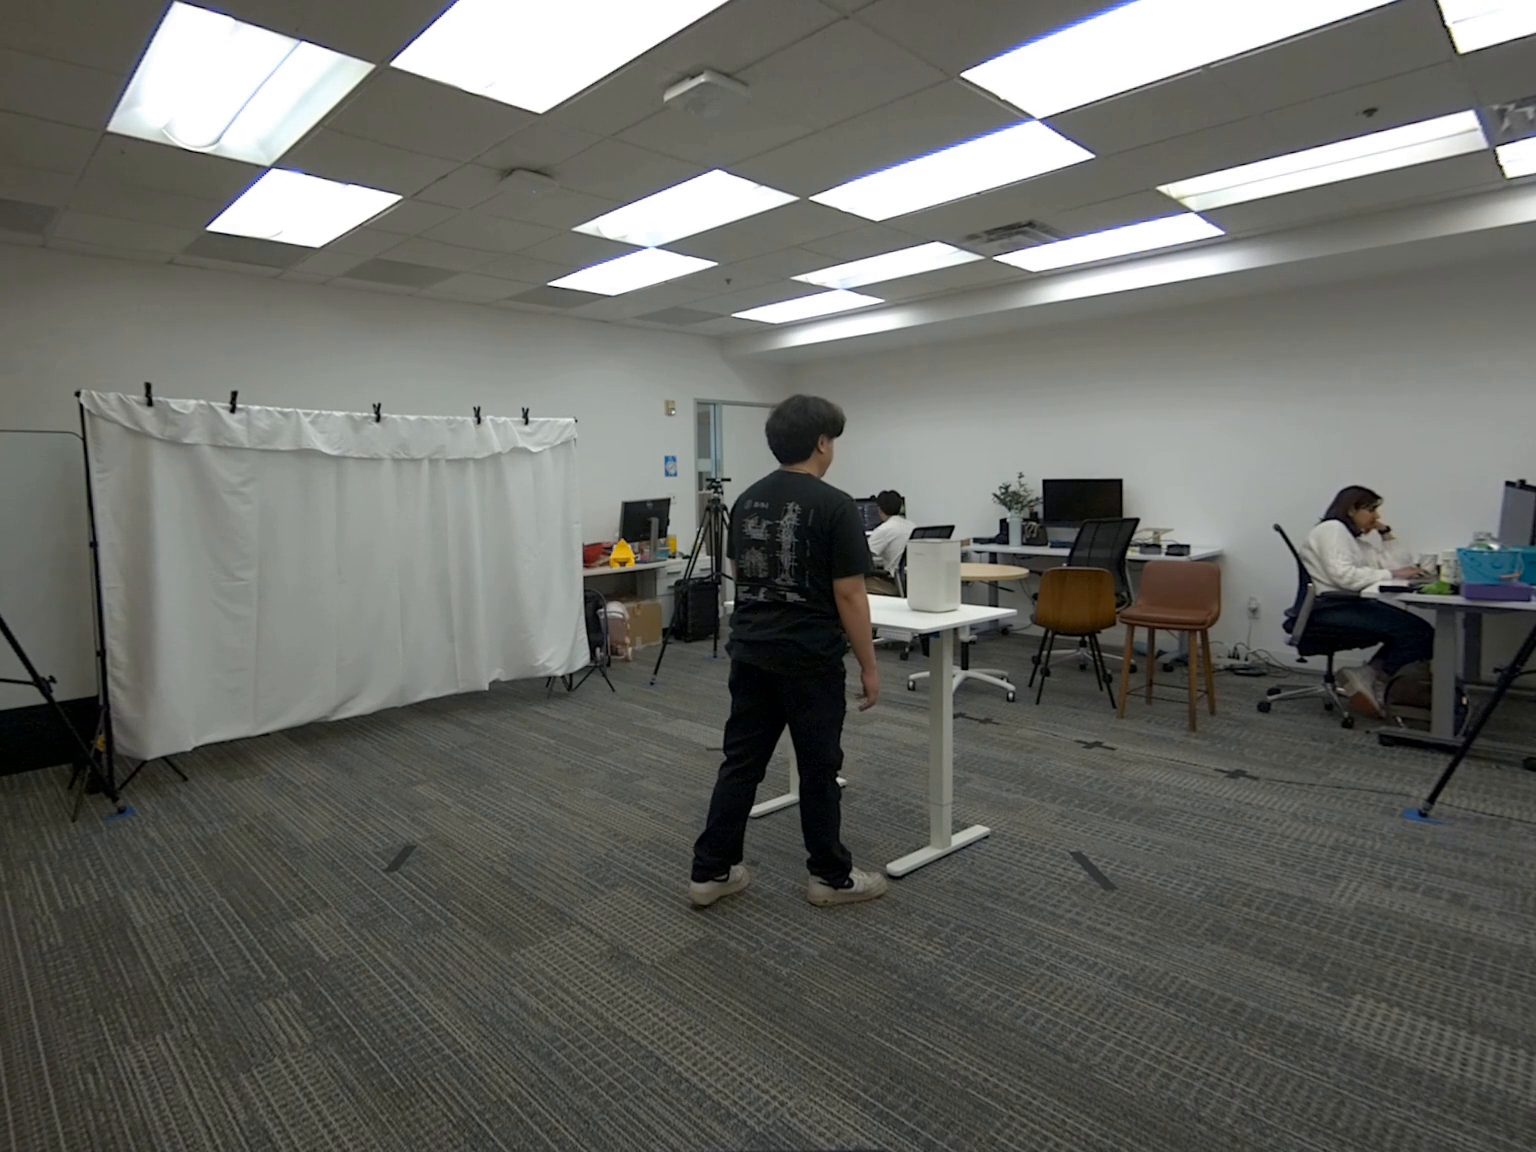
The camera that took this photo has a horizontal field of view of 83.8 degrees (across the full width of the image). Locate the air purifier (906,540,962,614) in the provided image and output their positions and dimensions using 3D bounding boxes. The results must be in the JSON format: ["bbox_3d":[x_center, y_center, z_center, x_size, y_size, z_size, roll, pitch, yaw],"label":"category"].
[{"bbox_3d":[0.638,-0.004,3.245,0.167,0.265,0.176,-2,2,-41],"label":"air purifier"}]
